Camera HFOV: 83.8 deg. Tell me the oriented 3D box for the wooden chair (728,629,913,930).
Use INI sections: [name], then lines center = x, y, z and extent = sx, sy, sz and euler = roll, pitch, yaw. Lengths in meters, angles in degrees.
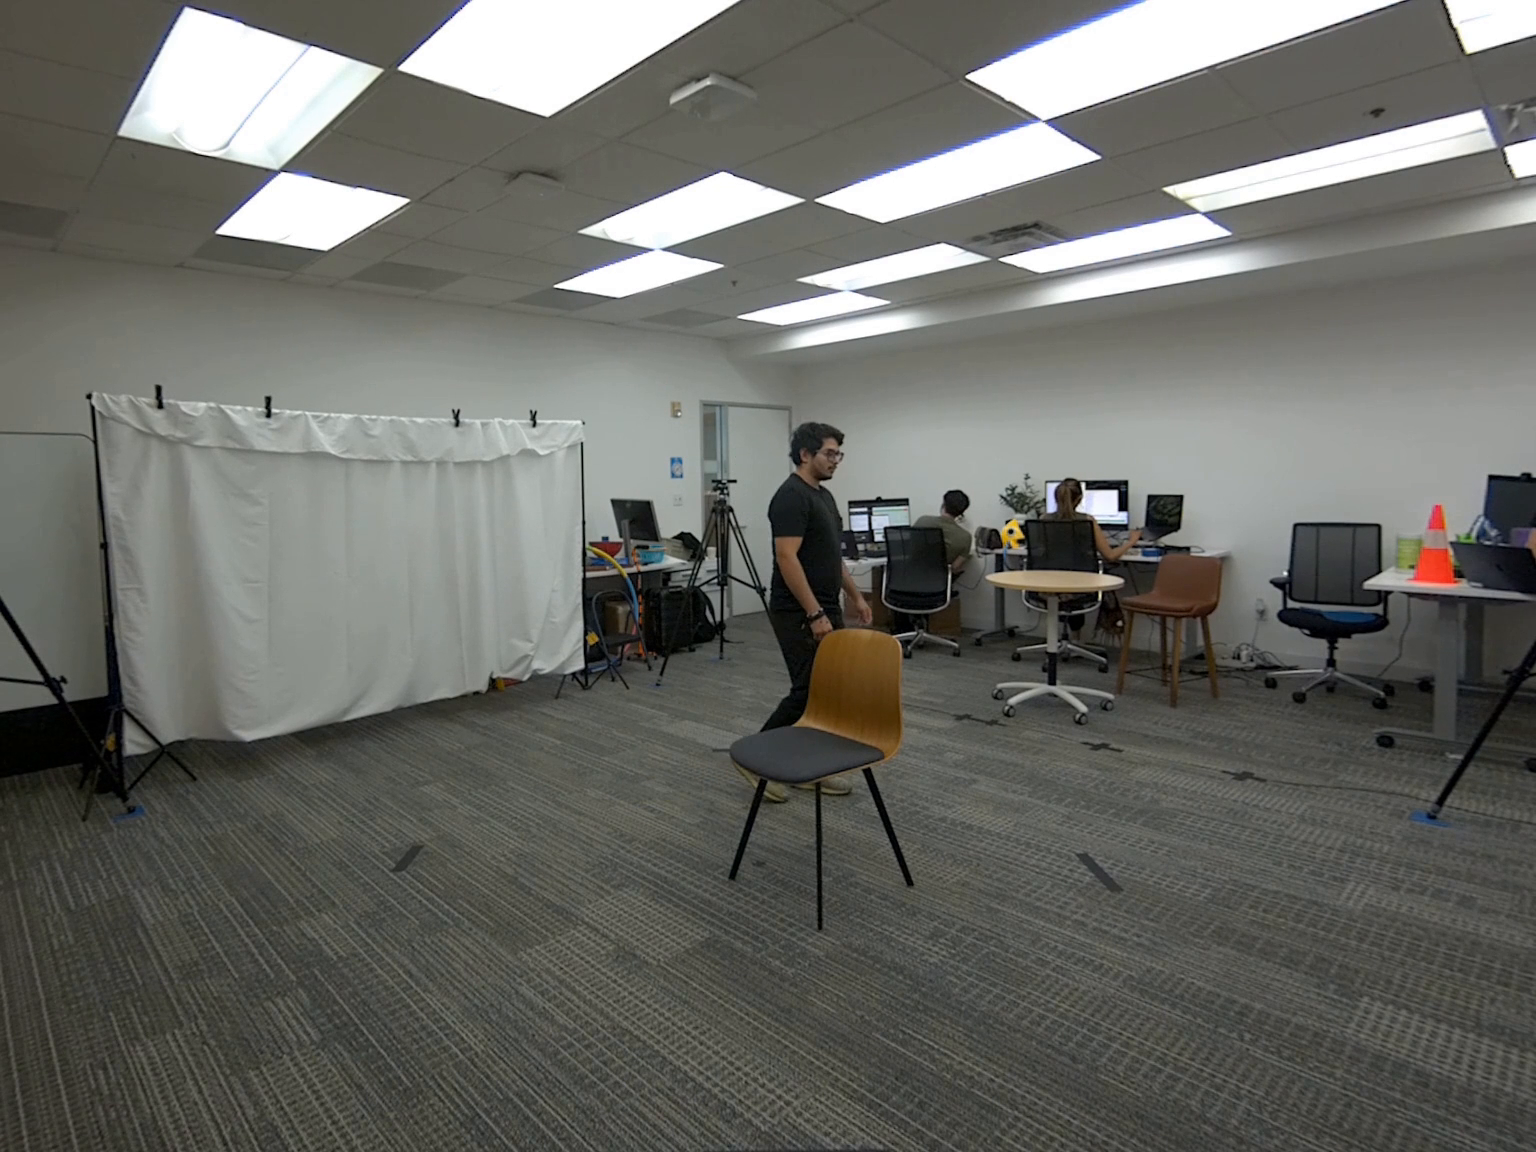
[wooden chair]
center = 0.171, 0.641, 2.914
extent = 0.508, 0.876, 0.493
euler = 2, 2, -40
